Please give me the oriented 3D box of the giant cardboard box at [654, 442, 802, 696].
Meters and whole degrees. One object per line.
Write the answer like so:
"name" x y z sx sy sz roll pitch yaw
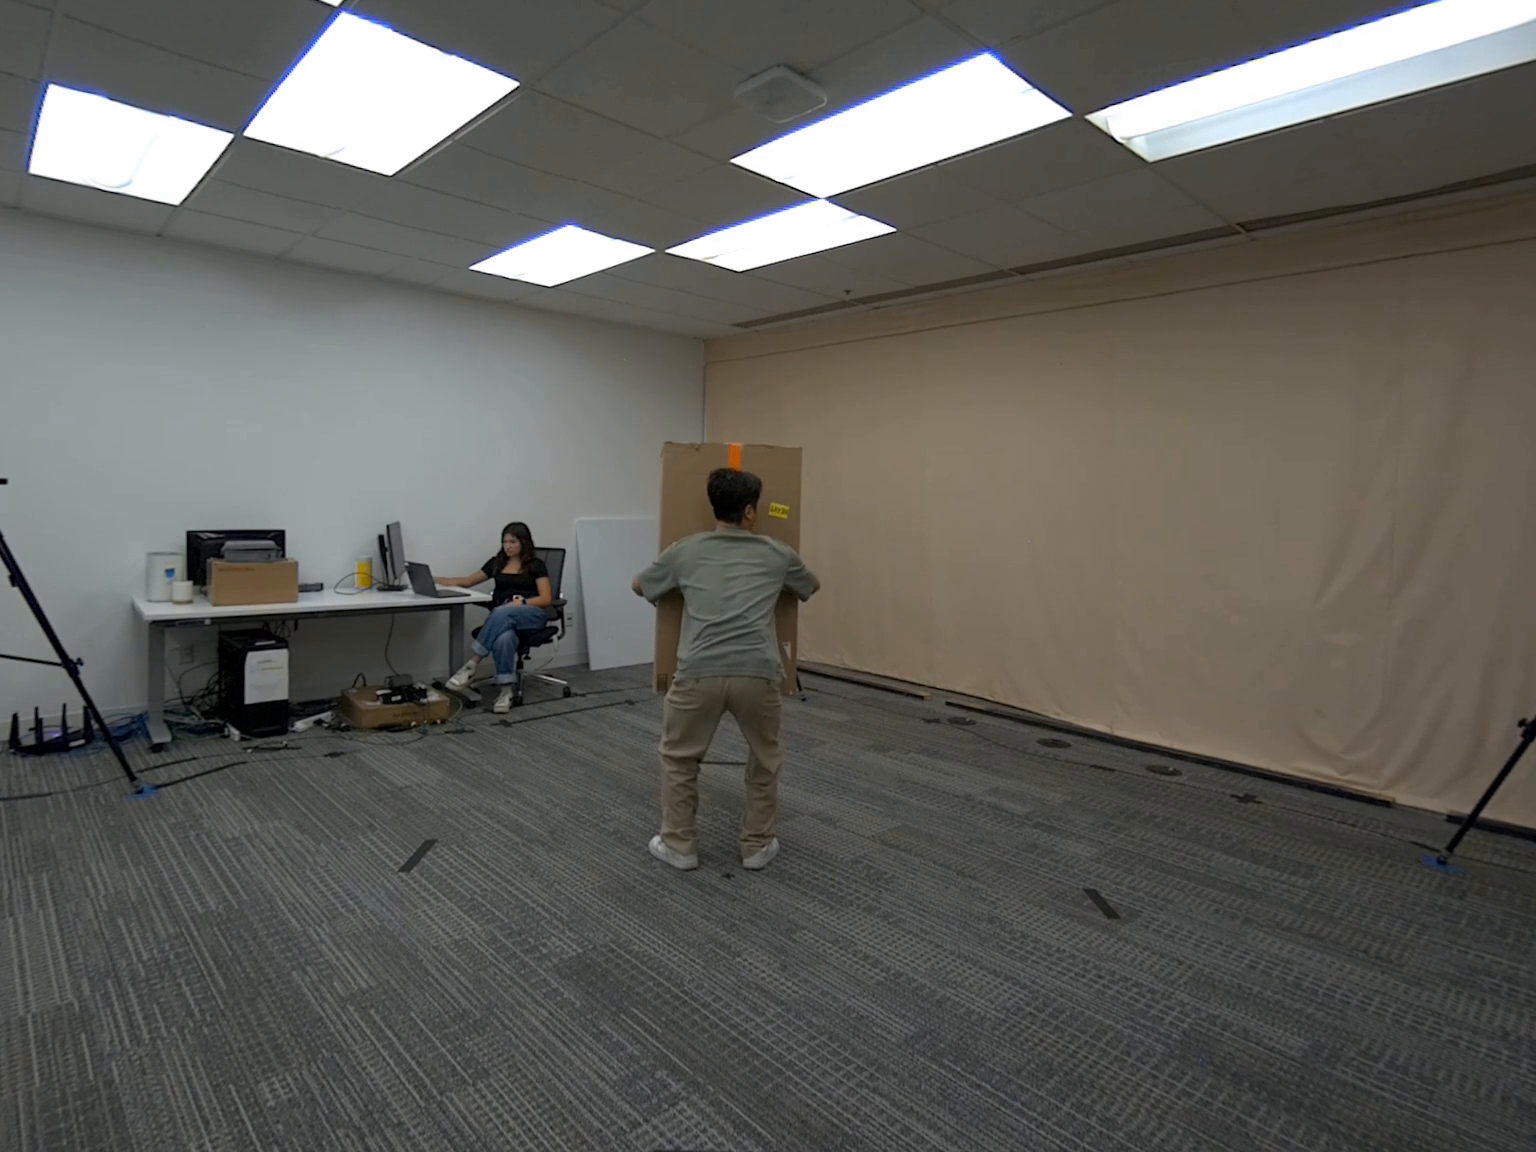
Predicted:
"giant cardboard box" -0.185 -0.027 3.615 0.574 1.027 0.428 2 -2 -6
